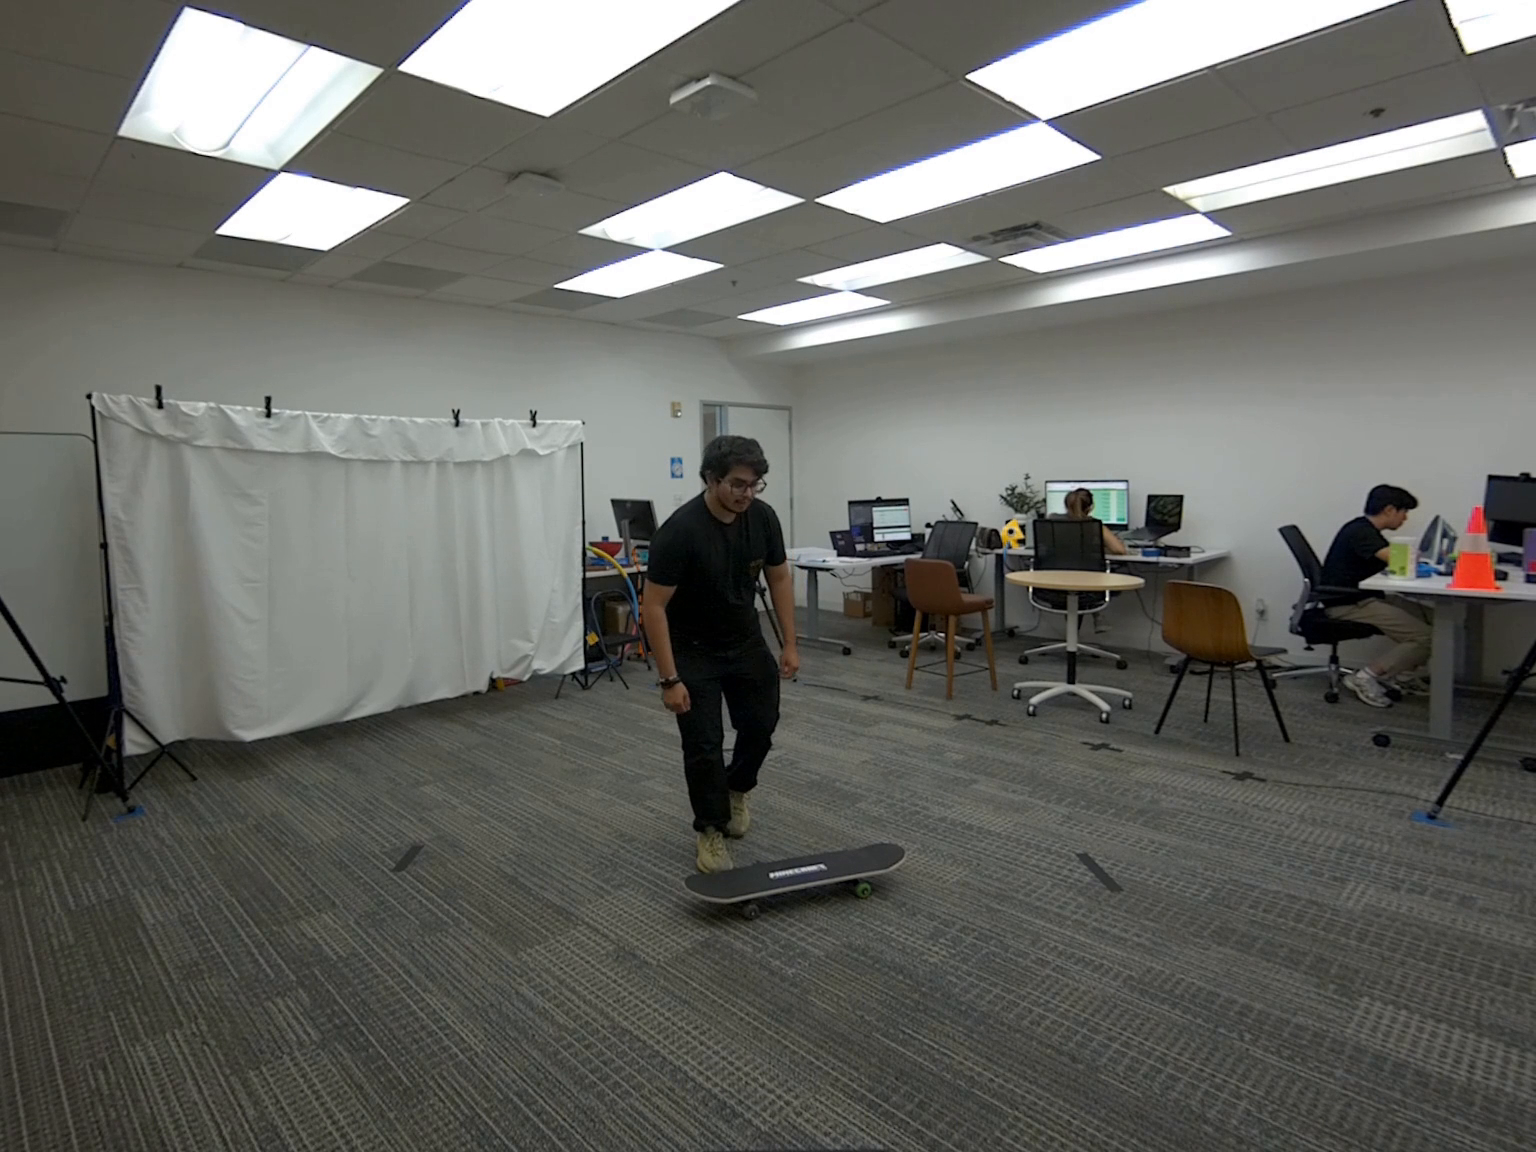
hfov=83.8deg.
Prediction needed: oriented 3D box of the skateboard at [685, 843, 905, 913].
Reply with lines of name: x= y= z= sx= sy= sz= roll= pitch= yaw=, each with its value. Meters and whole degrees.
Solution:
skateboard: x=0.101 y=1.014 z=2.857 sx=0.773 sy=0.110 sz=0.197 roll=-3 pitch=5 yaw=-18
